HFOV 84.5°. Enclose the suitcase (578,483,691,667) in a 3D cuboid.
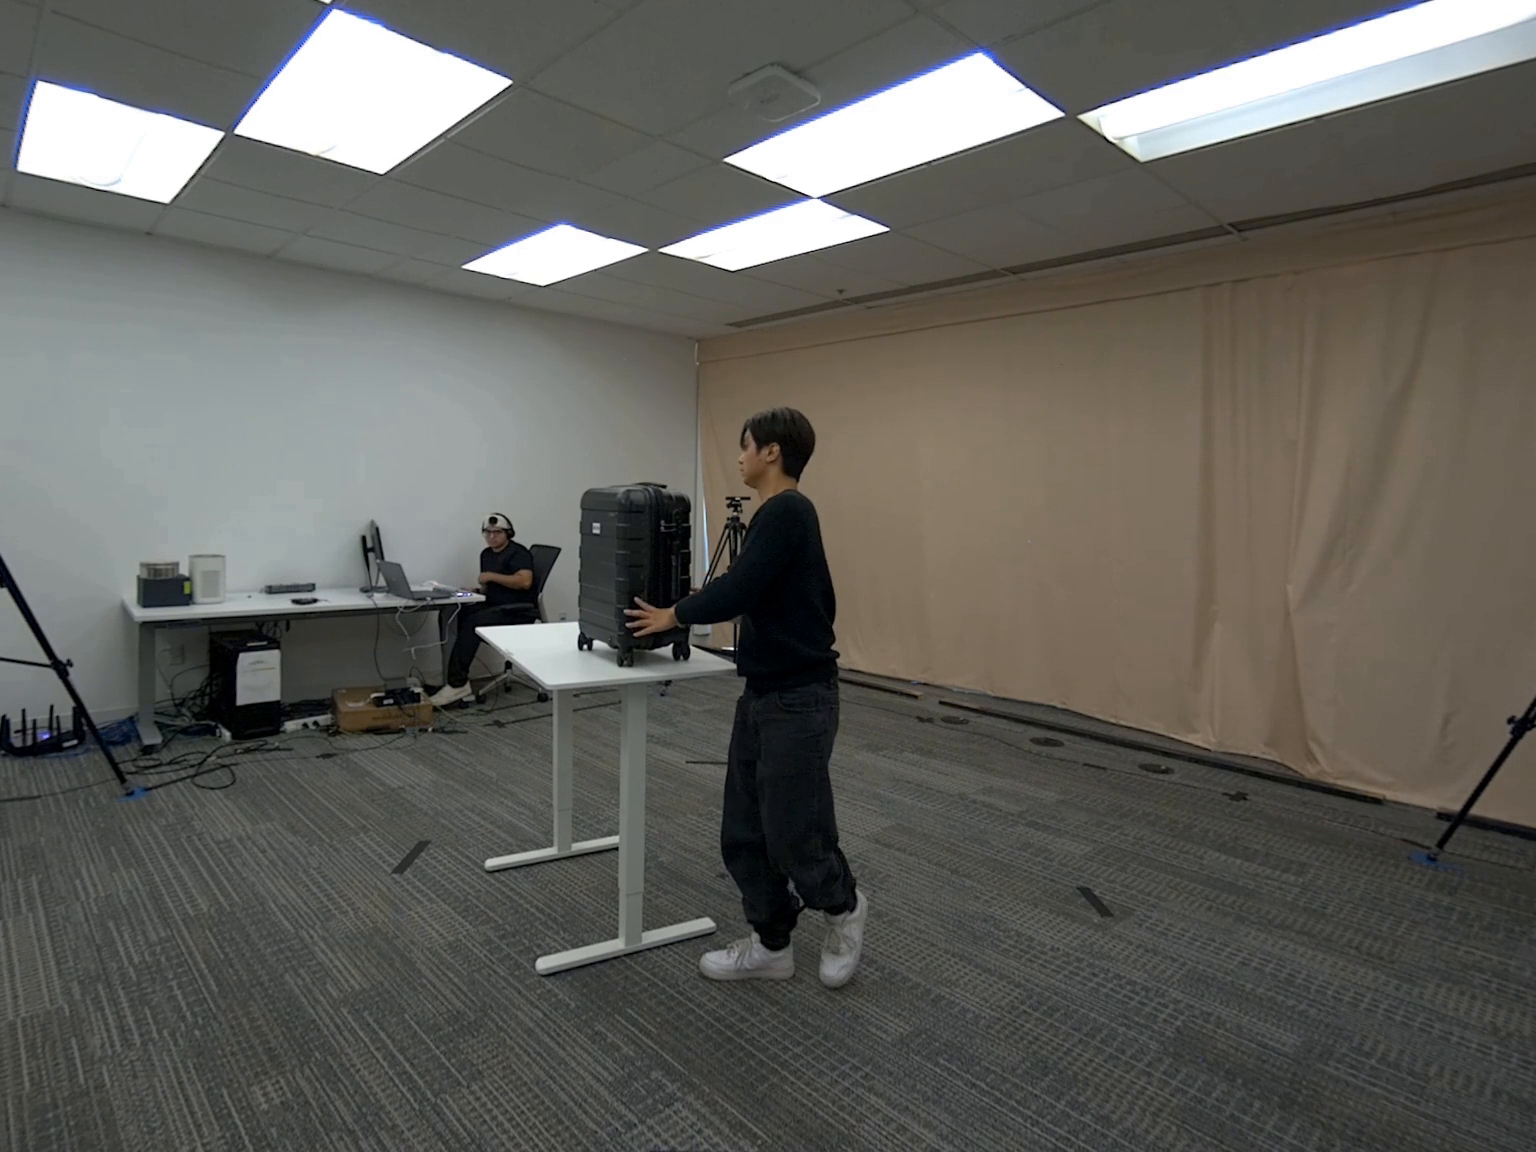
[{"bbox_3d":[-0.426,-0.018,2.672,0.243,0.547,0.385,-2,7,-35],"label":"suitcase"}]
